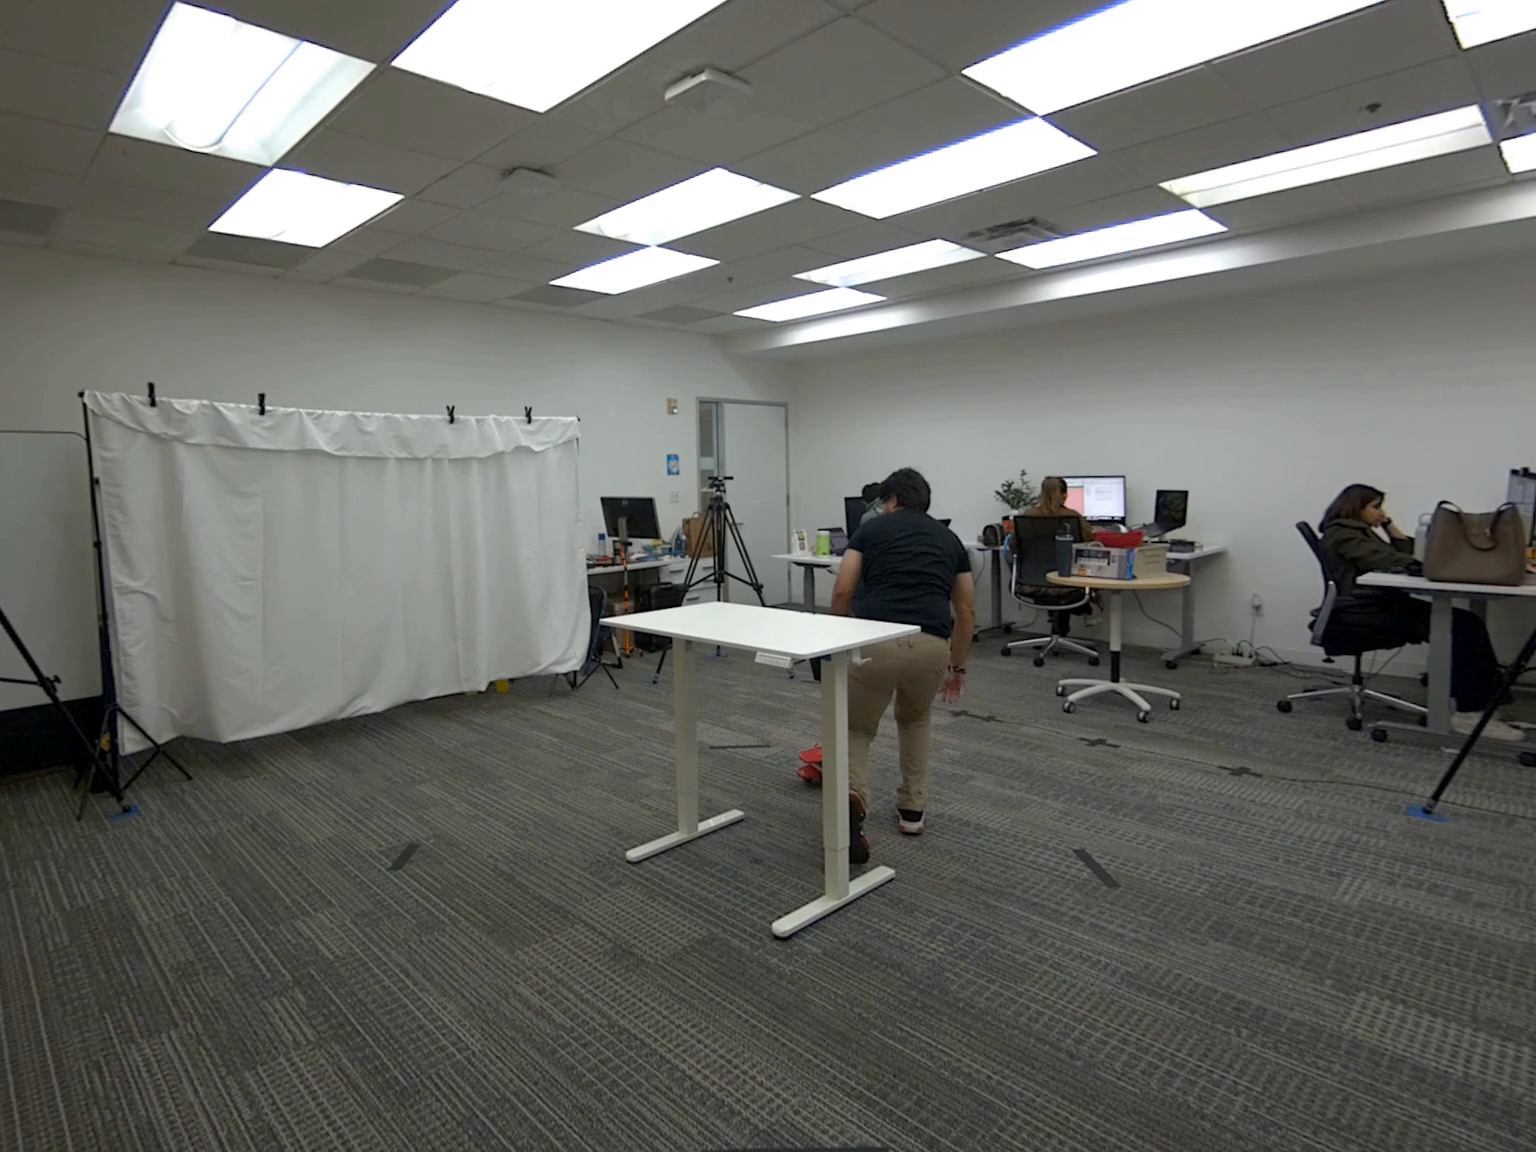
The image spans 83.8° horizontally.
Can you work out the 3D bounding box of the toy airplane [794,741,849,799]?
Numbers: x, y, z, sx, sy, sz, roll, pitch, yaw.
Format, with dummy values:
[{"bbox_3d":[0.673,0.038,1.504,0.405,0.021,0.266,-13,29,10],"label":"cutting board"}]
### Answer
[{"bbox_3d":[0.286,0.869,3.874,0.265,0.156,0.247,0,6,24],"label":"toy airplane"}]
